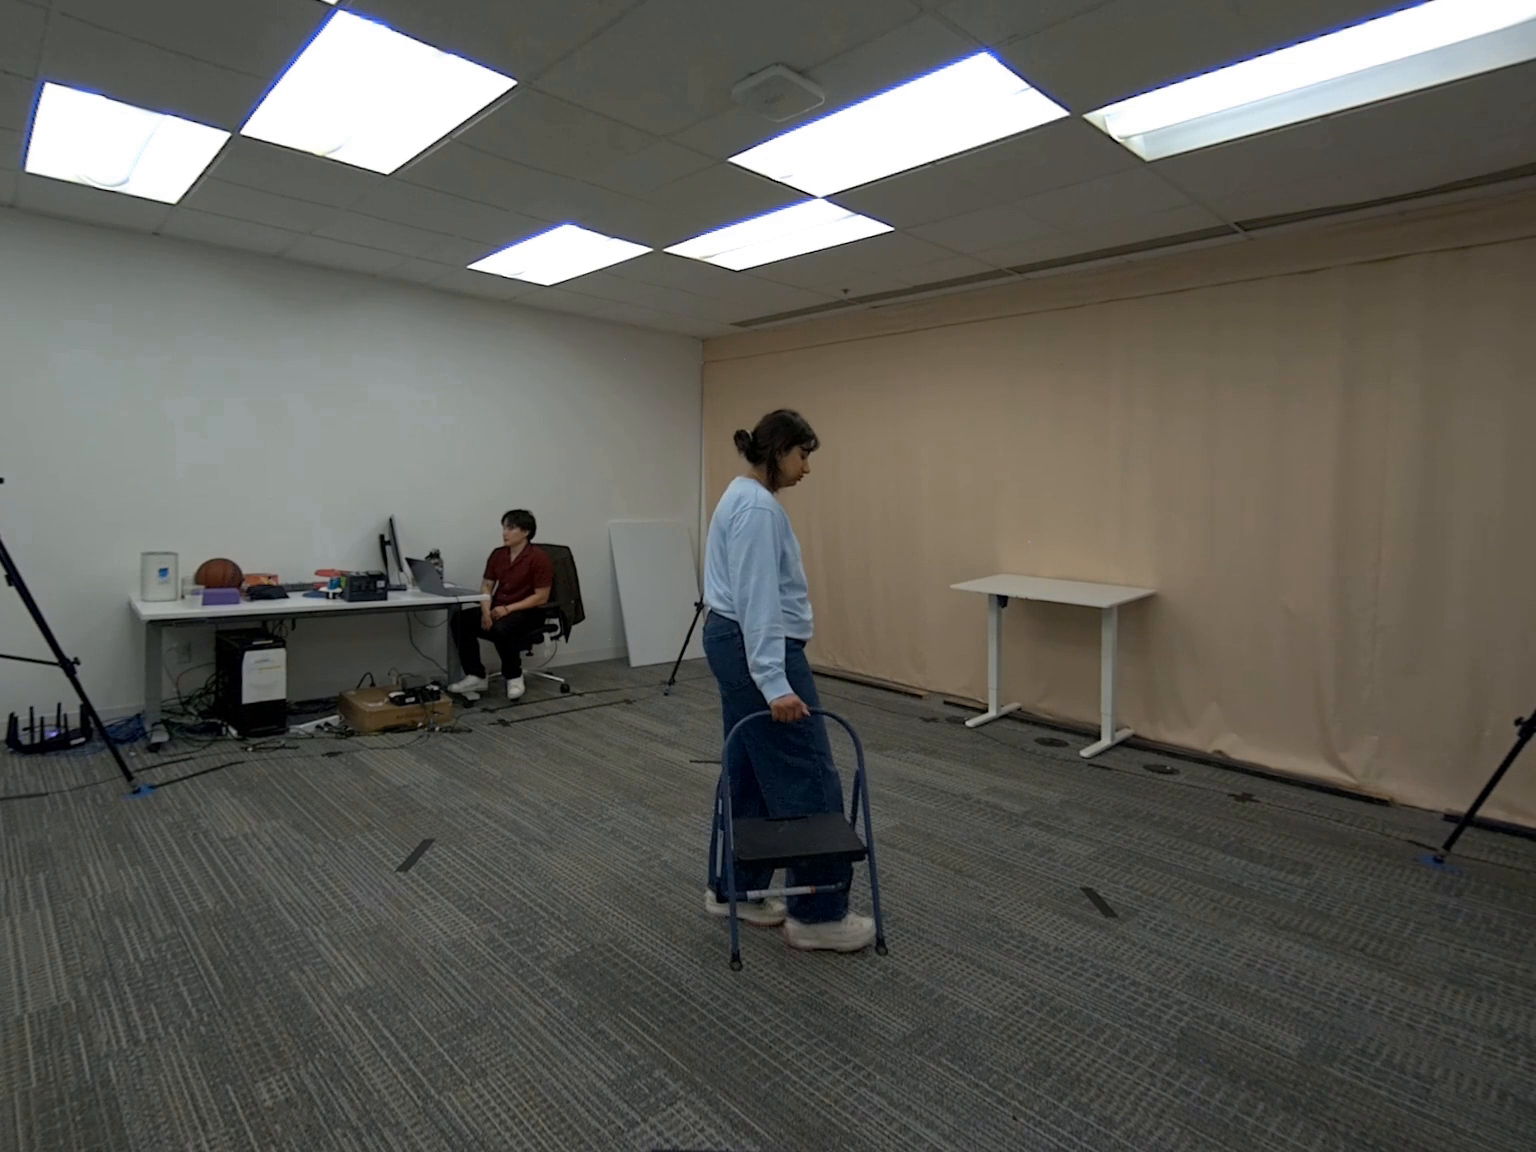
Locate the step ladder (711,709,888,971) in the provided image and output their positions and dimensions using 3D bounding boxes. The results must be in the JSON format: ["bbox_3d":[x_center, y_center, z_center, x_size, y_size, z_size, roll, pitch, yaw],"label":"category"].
[{"bbox_3d":[0.071,0.698,2.341,0.427,0.603,0.354,-1,6,-12],"label":"step ladder"}]
